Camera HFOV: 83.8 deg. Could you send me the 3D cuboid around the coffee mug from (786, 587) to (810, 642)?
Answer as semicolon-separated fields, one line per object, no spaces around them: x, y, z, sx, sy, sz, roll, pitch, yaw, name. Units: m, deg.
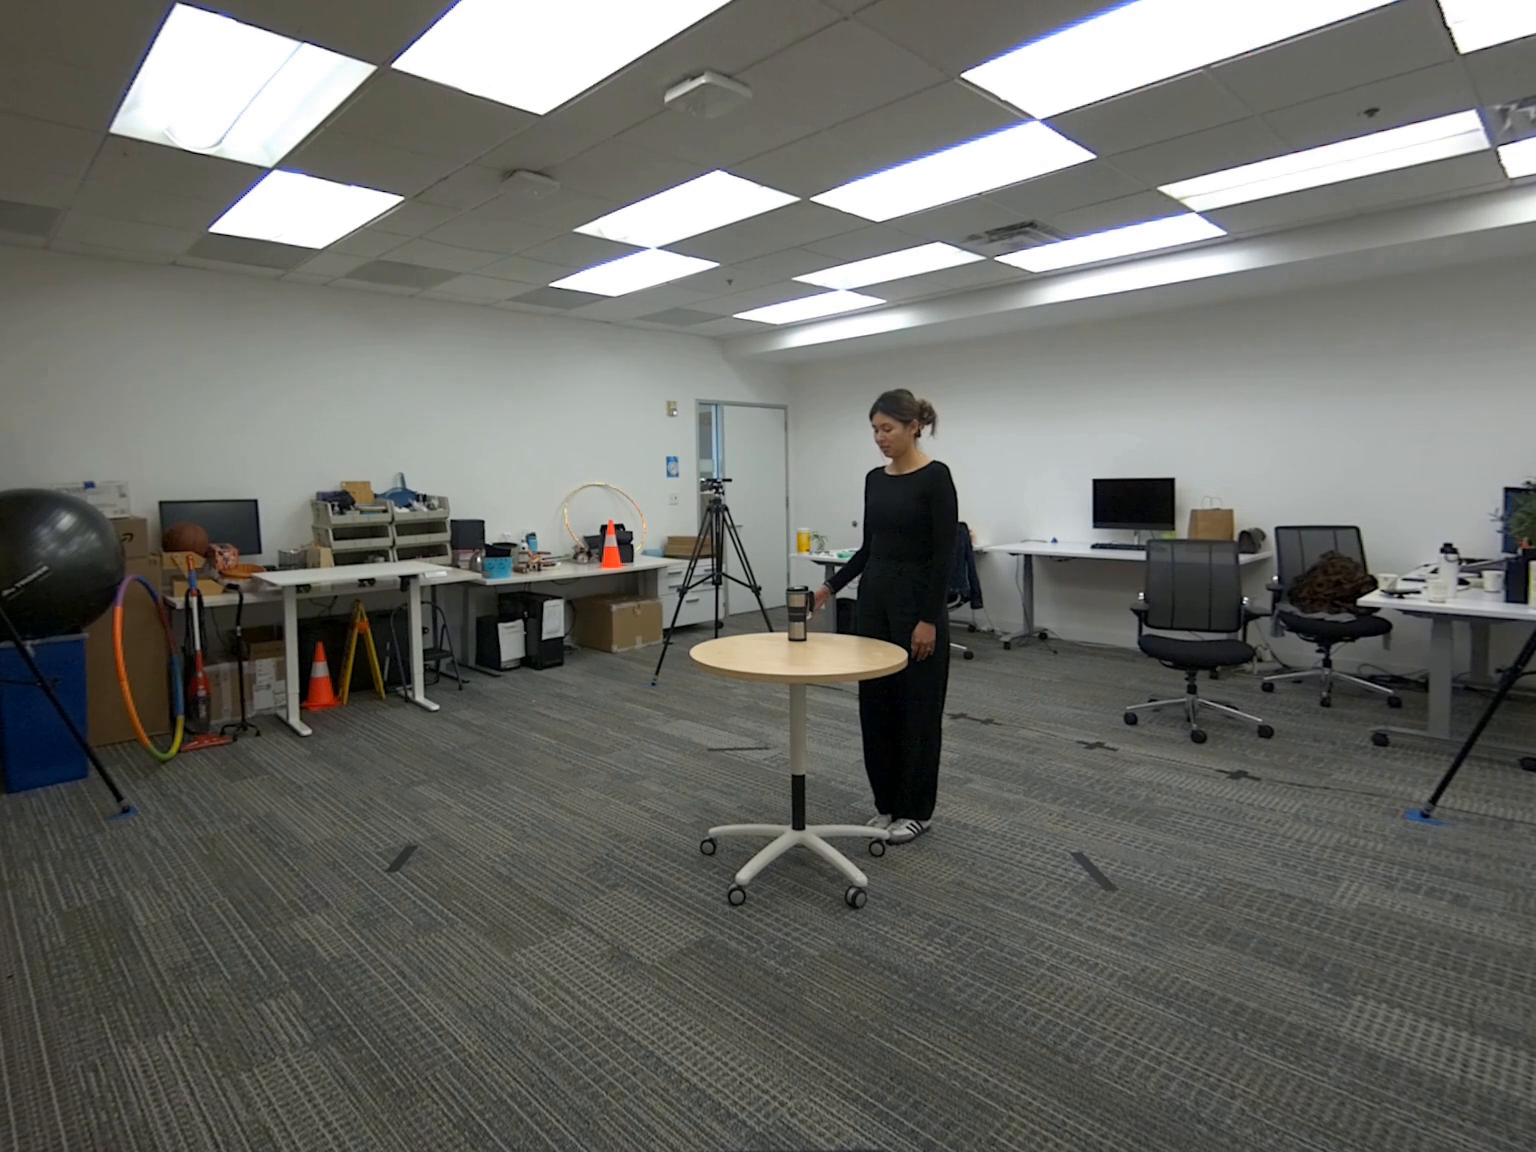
0.136;0.140;3.253;0.119;0.203;0.090;-5;1;-26;coffee mug
